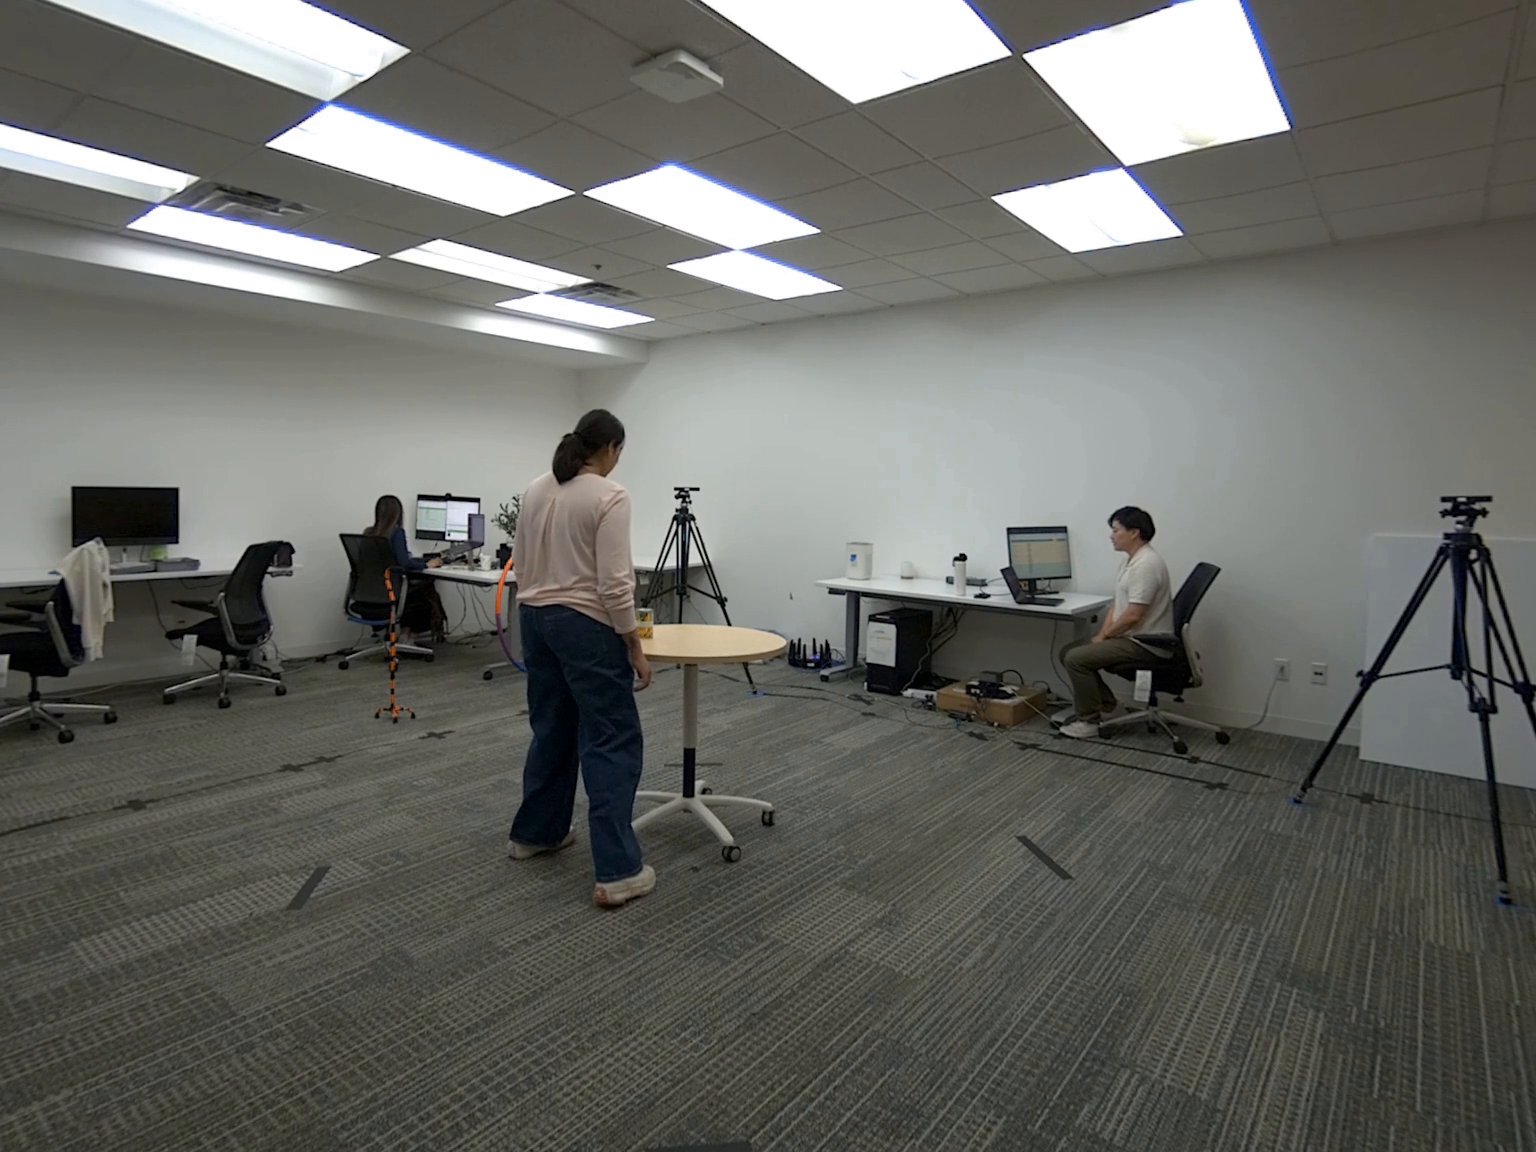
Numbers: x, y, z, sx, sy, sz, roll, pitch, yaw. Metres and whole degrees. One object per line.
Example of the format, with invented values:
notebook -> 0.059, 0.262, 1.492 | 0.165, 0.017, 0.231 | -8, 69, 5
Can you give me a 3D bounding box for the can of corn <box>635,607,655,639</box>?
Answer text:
can of corn -> -0.509, 0.190, 3.437 | 0.074, 0.111, 0.074 | 2, 3, -2
